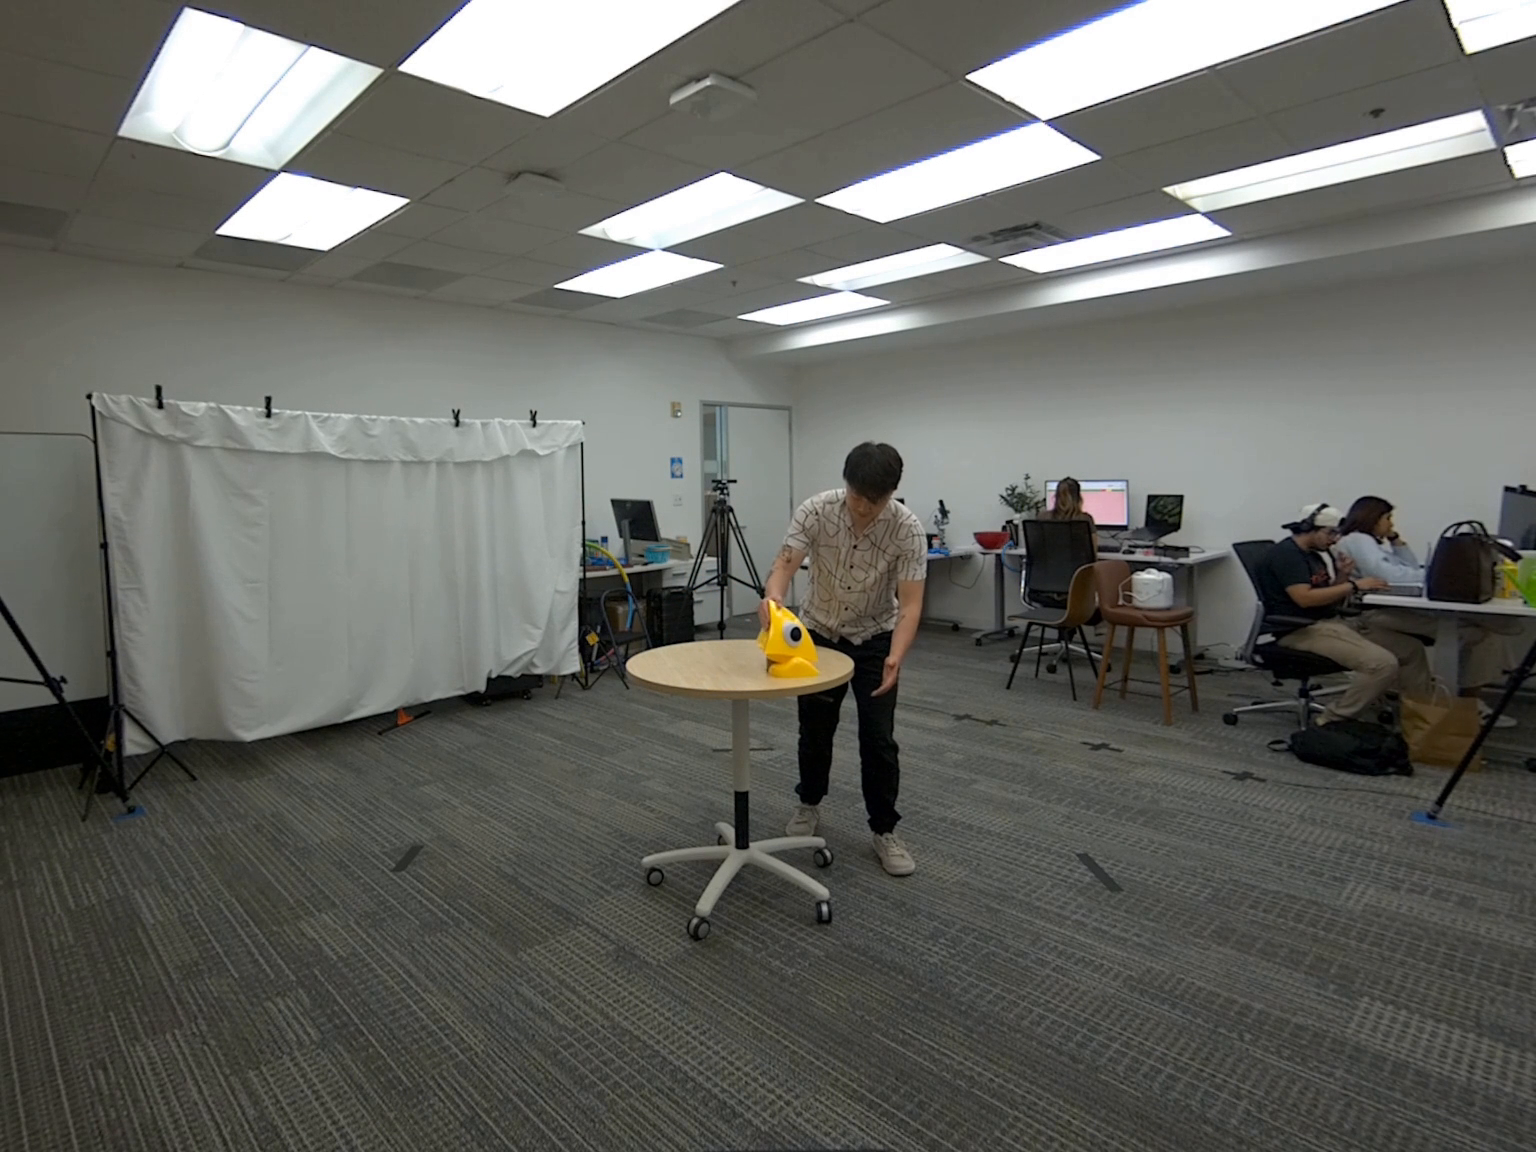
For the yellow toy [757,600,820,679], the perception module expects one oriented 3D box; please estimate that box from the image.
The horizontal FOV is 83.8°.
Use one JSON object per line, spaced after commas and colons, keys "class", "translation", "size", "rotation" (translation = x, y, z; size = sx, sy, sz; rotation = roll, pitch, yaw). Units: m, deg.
{"class": "yellow toy", "translation": [0.068, 0.191, 2.745], "size": [0.192, 0.230, 0.206], "rotation": [-1, 3, -6]}
